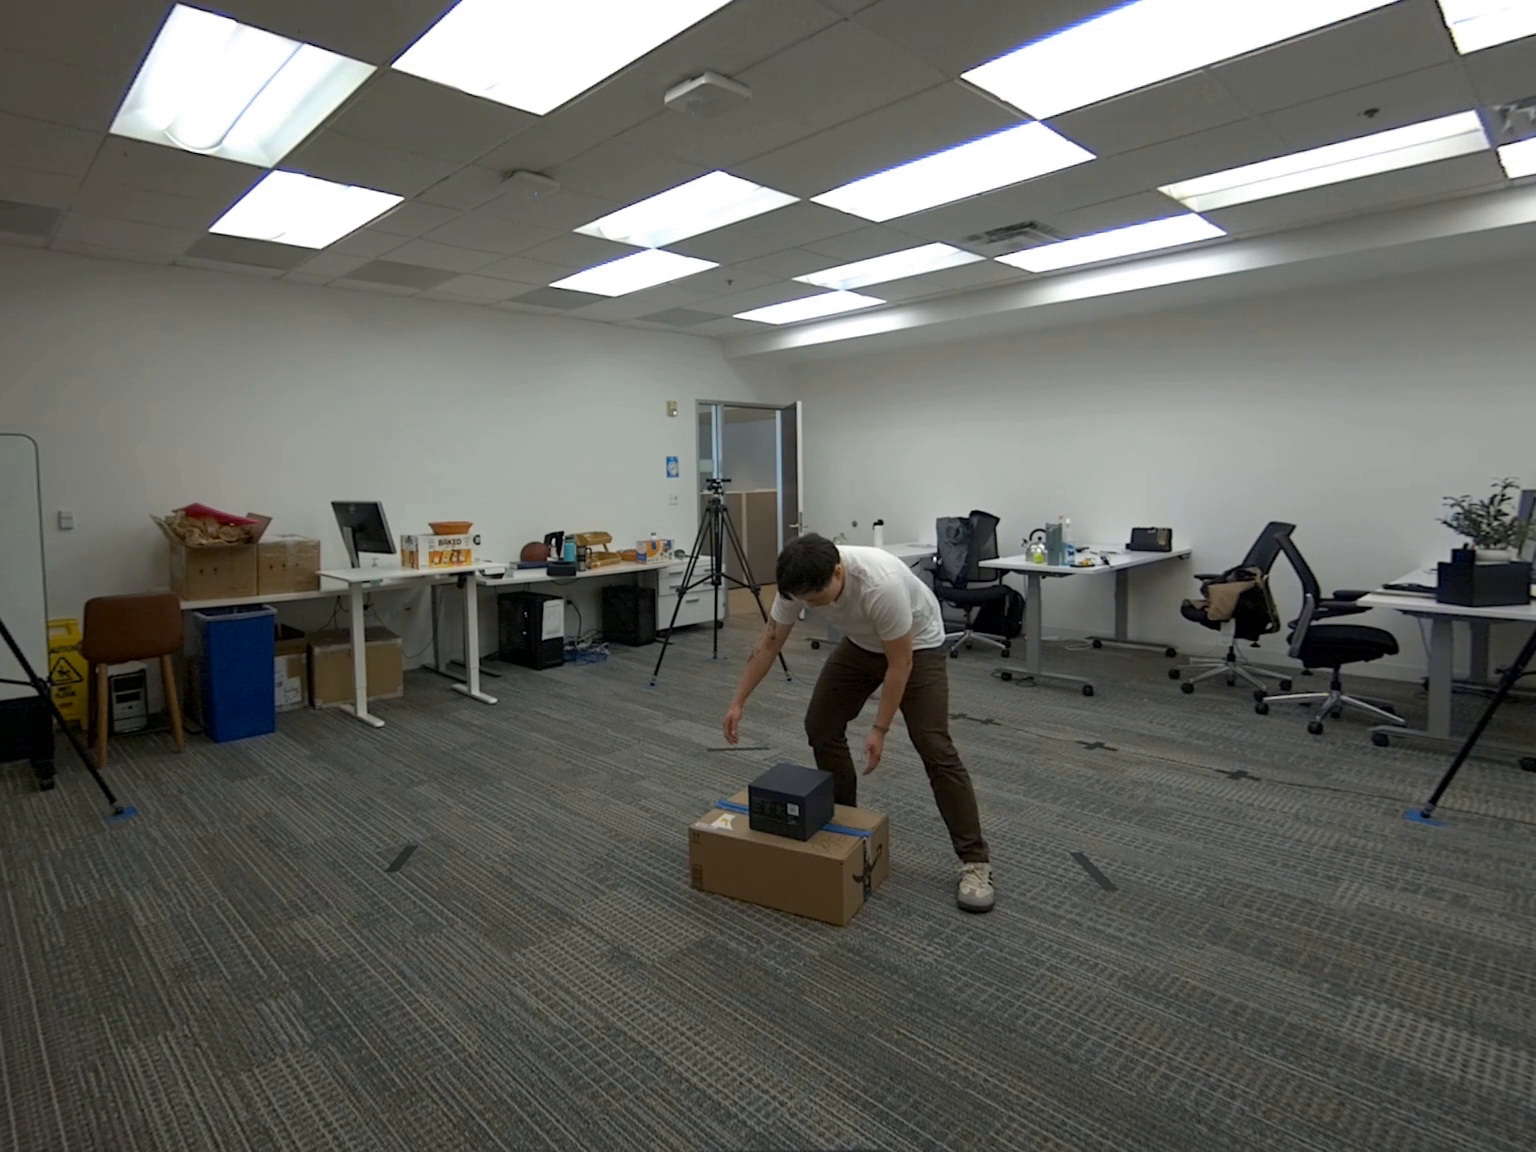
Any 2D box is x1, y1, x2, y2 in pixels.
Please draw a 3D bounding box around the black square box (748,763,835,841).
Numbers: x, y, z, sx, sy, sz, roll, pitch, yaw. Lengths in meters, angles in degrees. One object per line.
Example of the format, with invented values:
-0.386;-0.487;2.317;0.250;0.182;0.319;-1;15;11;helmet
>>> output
0.084;0.764;2.913;0.223;0.155;0.223;3;9;30;black square box
